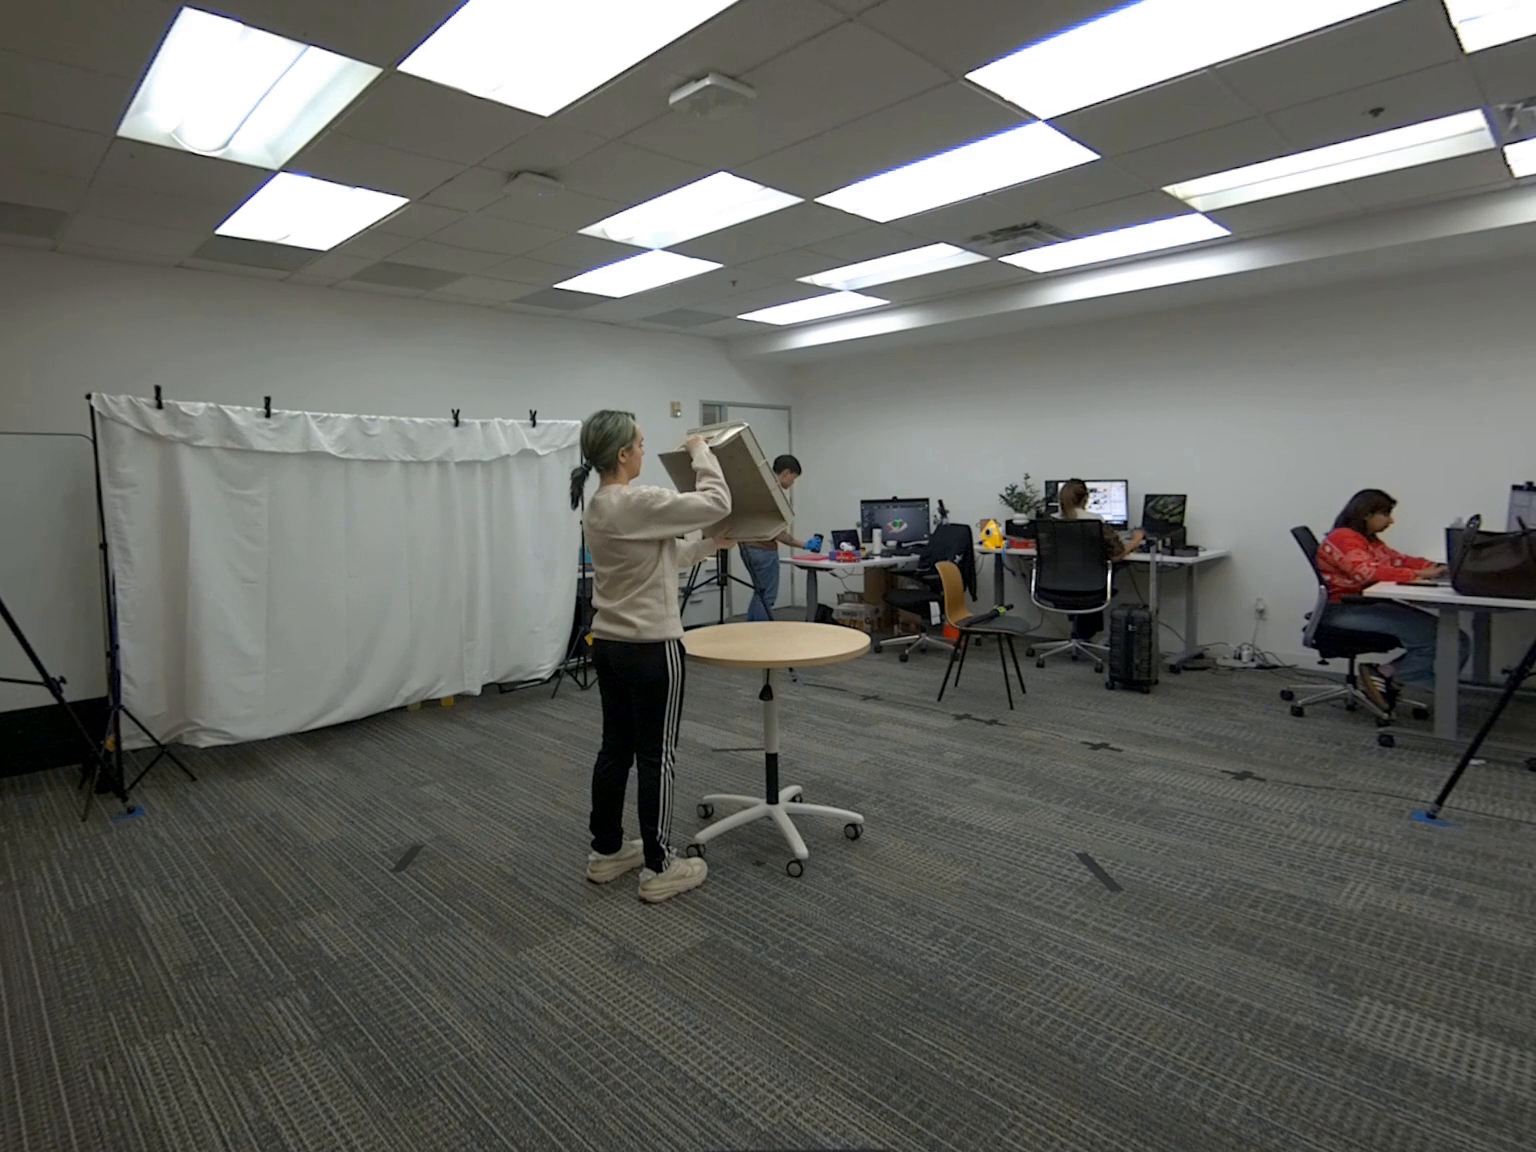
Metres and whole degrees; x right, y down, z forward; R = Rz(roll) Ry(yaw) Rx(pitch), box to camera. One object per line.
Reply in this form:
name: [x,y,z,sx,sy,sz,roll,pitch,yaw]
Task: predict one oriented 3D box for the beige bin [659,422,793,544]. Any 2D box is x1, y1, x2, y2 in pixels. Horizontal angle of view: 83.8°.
beige bin: [-0.141,-0.344,3.218,0.388,0.410,0.189,1,38,47]
